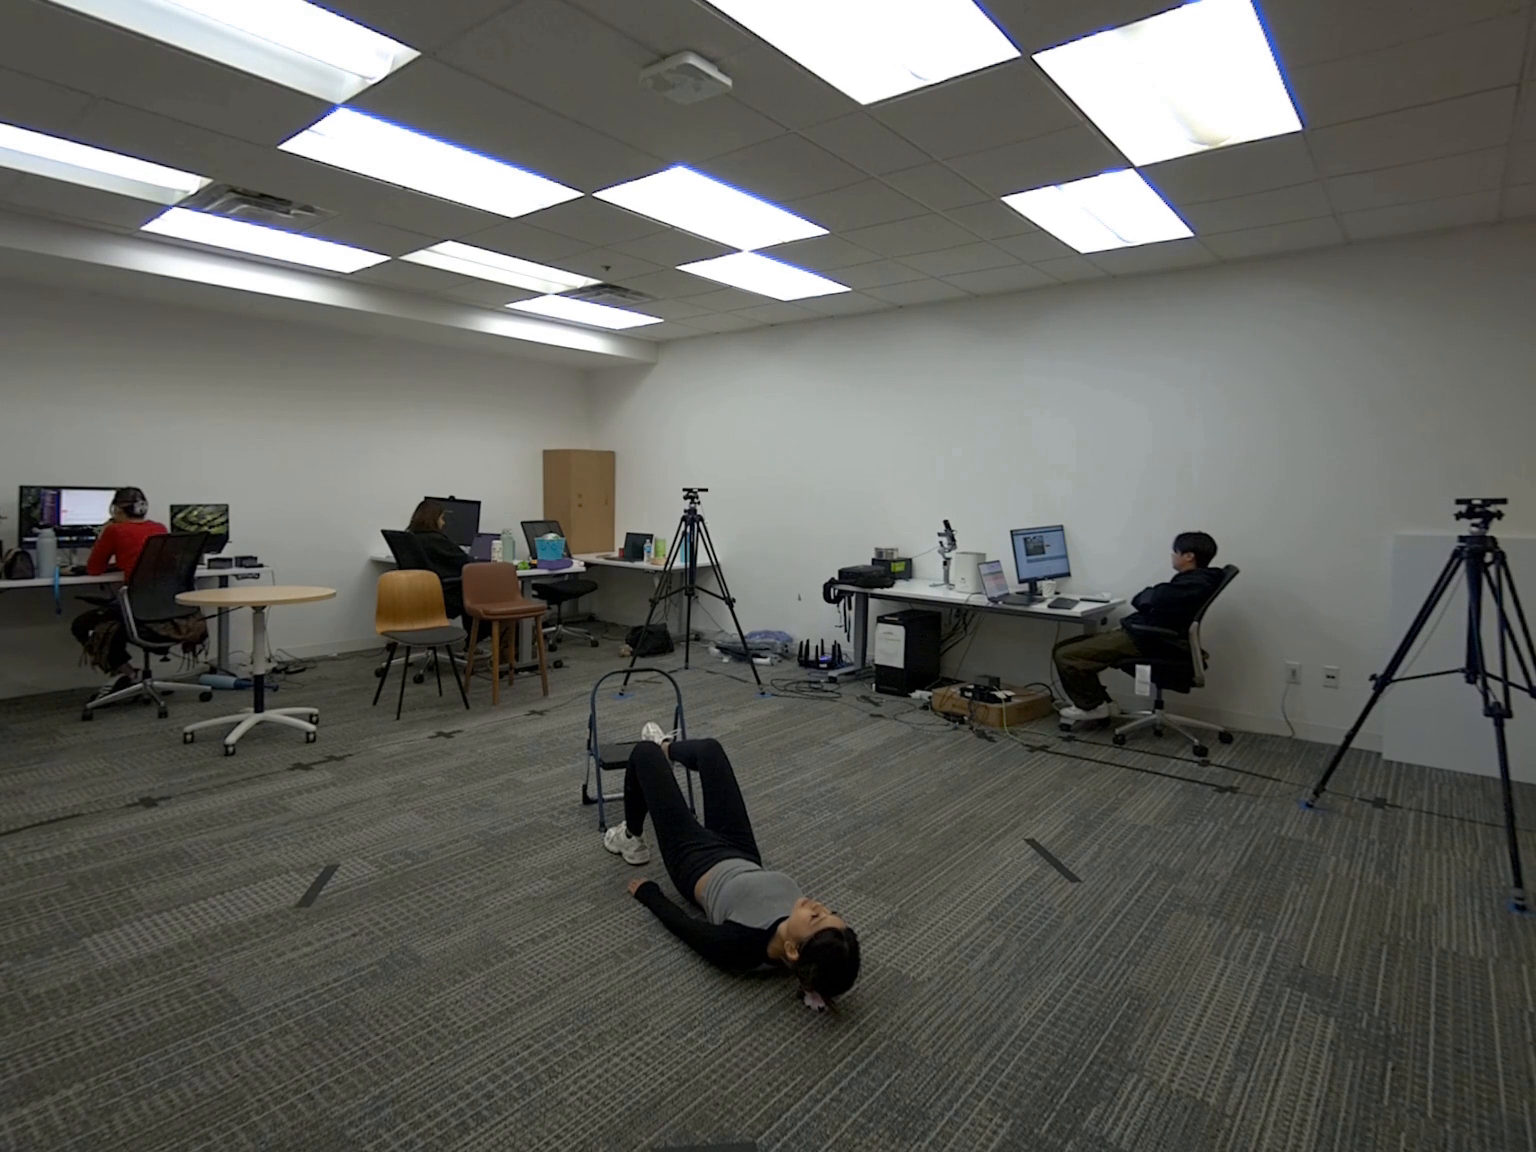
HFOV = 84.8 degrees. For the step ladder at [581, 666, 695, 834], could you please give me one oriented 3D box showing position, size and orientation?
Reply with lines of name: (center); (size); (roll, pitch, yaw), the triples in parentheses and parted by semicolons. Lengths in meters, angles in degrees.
step ladder: (-0.571, 0.710, 3.654); (0.420, 0.604, 0.359); (-1, 4, -25)
